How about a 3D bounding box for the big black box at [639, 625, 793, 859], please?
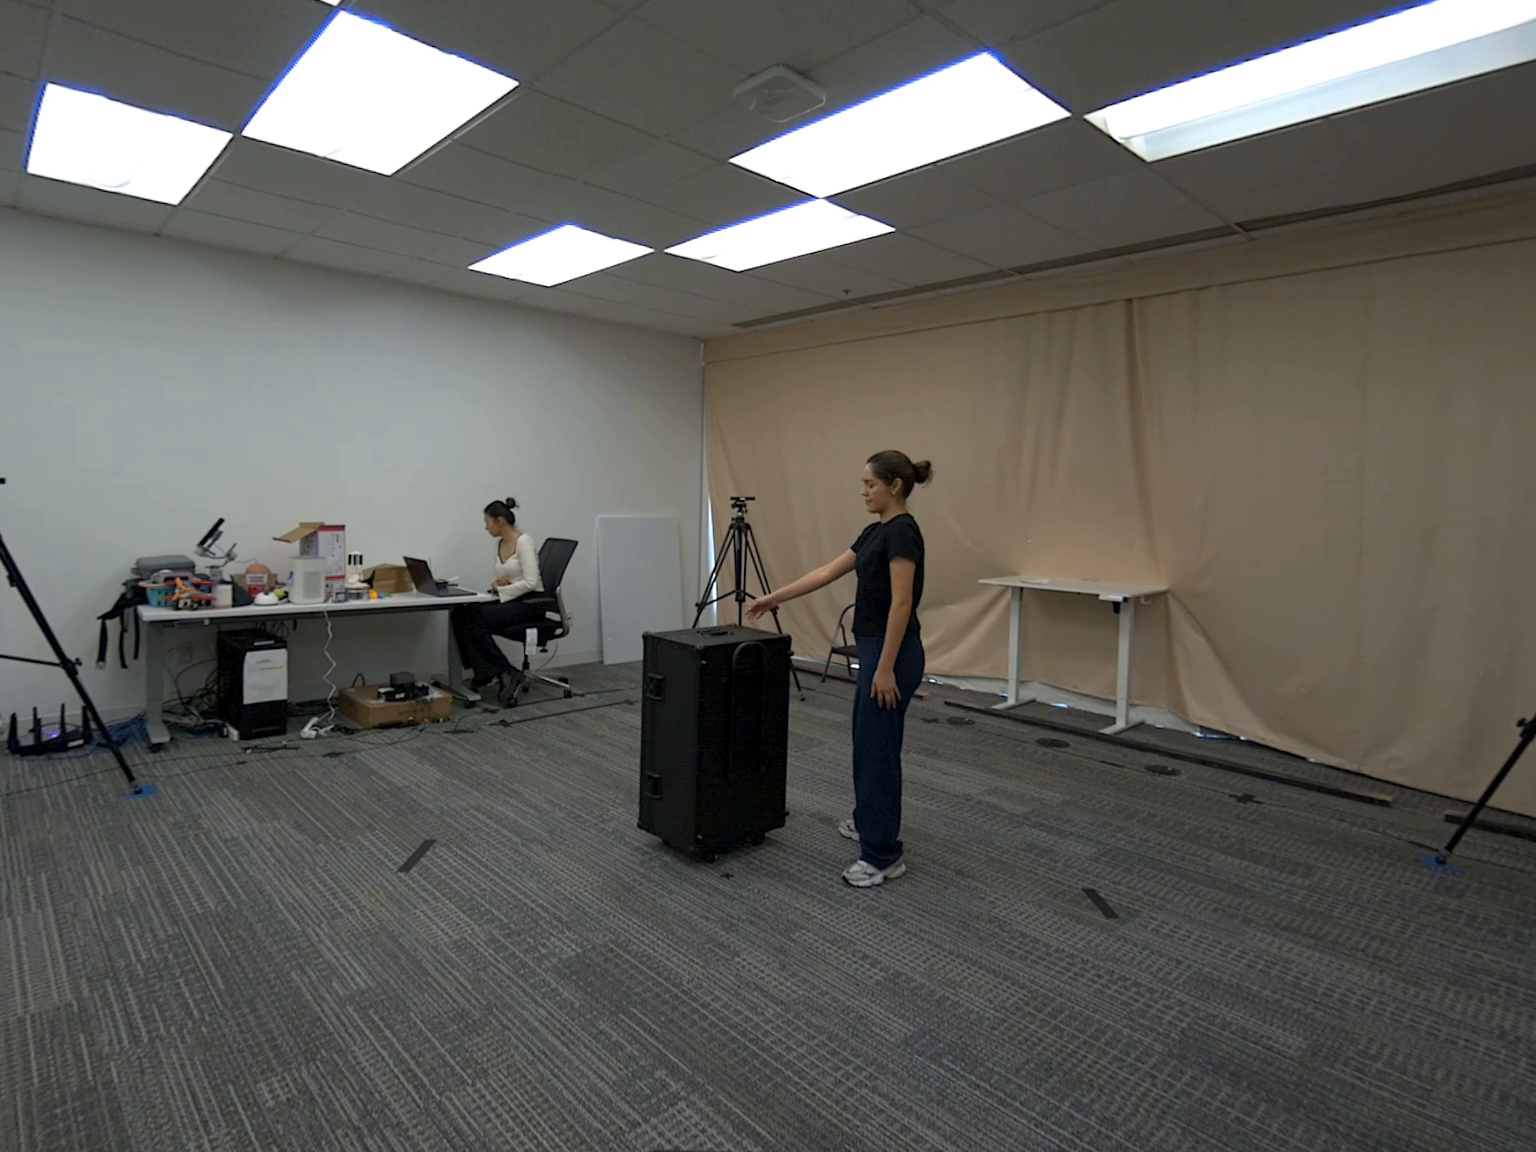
[{"bbox_3d":[-0.205,0.654,3.360,0.509,0.859,0.406,-2,5,-44],"label":"big black box"}]
